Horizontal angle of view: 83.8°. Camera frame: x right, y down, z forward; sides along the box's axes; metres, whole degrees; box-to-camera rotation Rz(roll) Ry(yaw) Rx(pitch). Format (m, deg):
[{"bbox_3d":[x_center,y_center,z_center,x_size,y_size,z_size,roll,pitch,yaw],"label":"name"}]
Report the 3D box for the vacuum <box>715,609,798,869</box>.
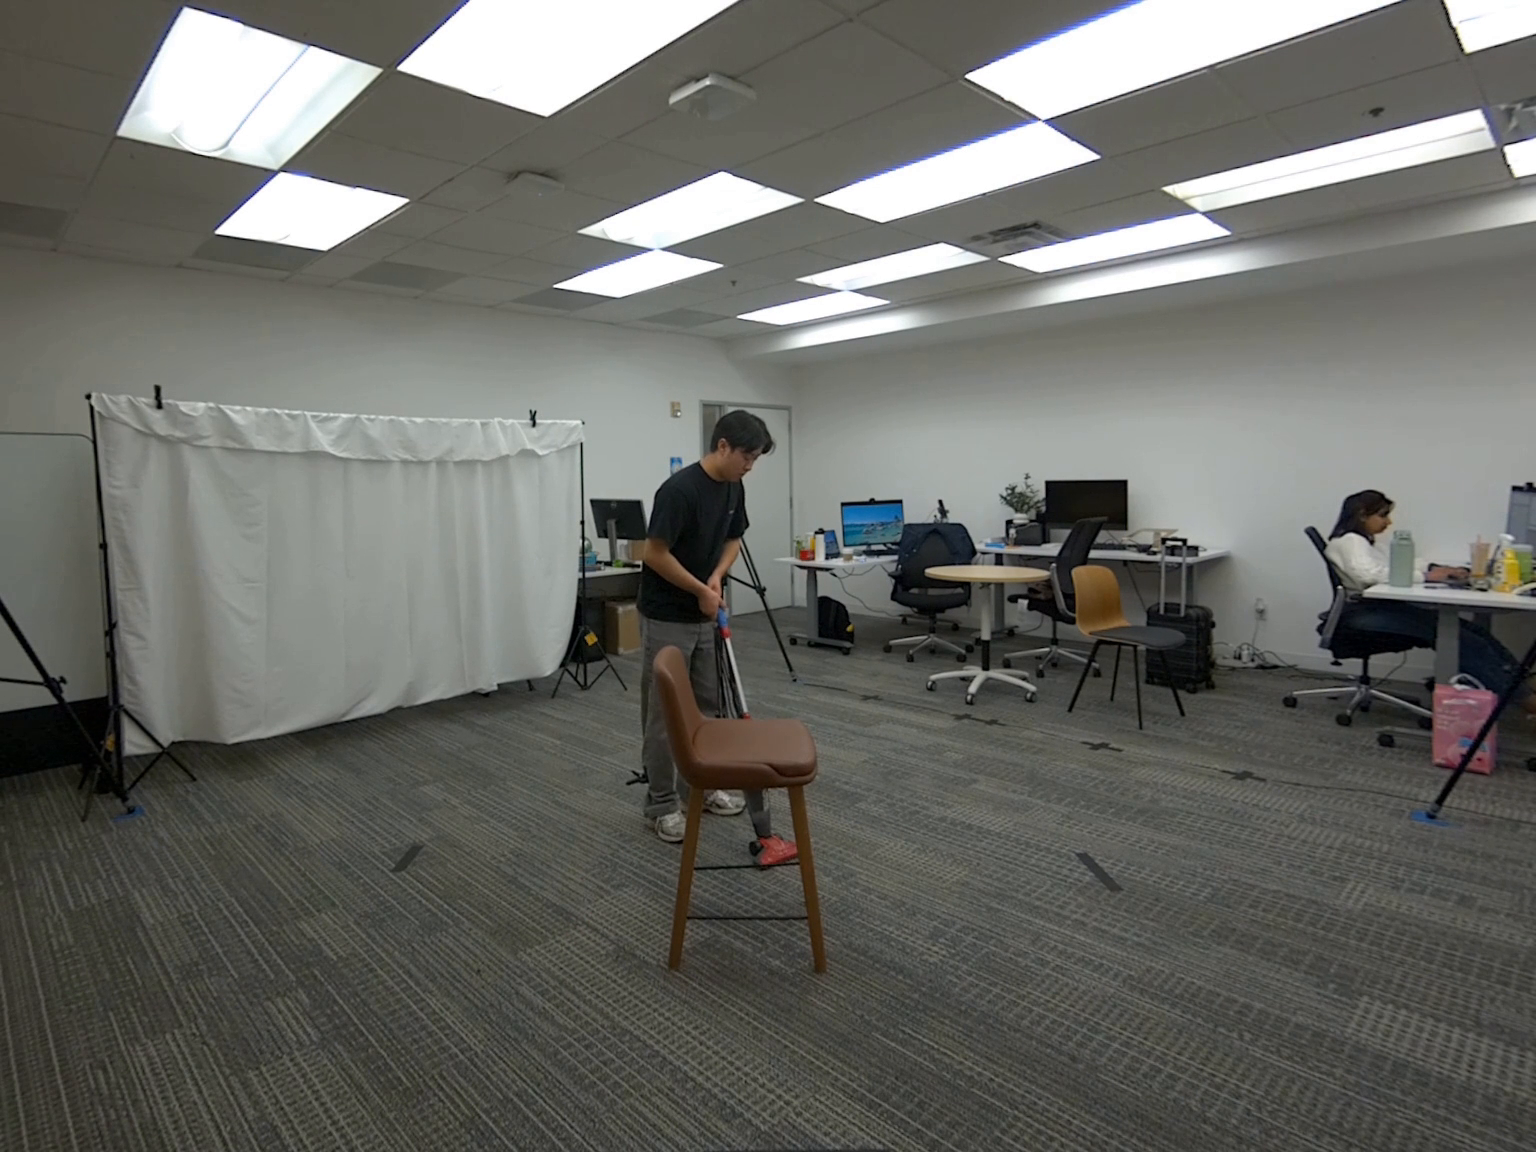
[{"bbox_3d":[-0.103,0.546,3.303,0.246,1.066,0.145,-3,-19,-42],"label":"vacuum"}]
